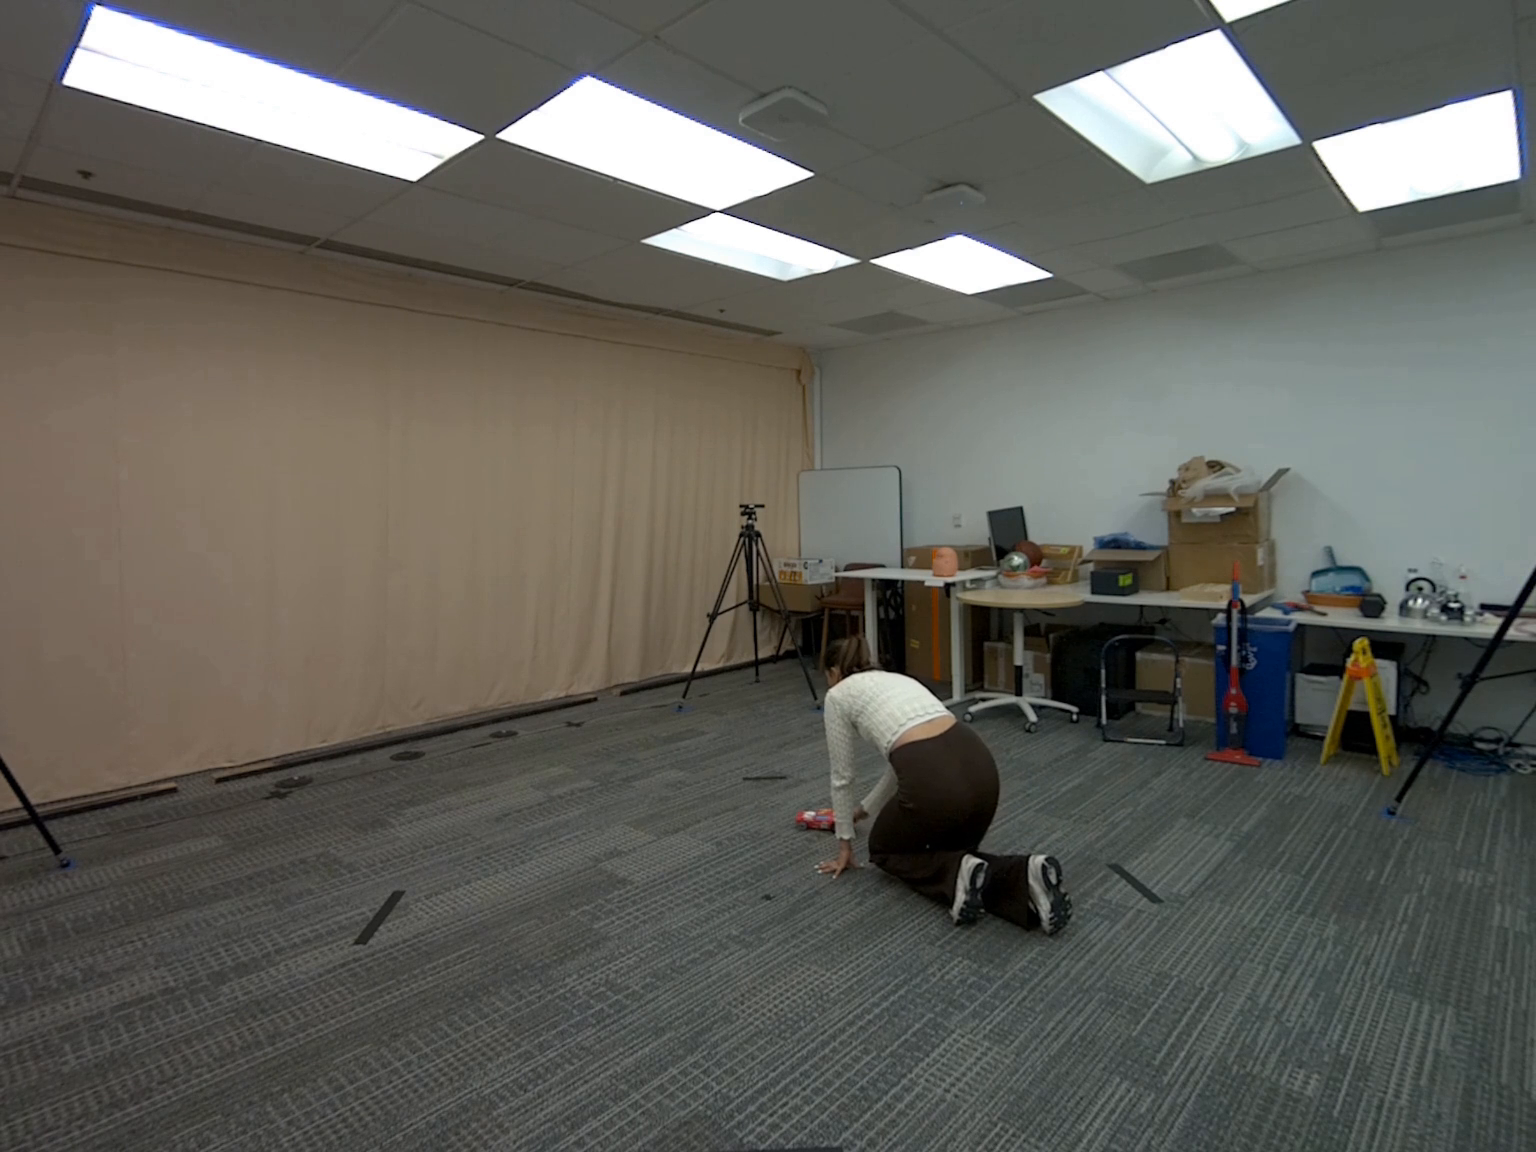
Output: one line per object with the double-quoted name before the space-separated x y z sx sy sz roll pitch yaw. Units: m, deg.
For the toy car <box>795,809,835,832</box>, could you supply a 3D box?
"toy car" 0.257 1.049 3.616 0.258 0.083 0.128 -10 0 14
